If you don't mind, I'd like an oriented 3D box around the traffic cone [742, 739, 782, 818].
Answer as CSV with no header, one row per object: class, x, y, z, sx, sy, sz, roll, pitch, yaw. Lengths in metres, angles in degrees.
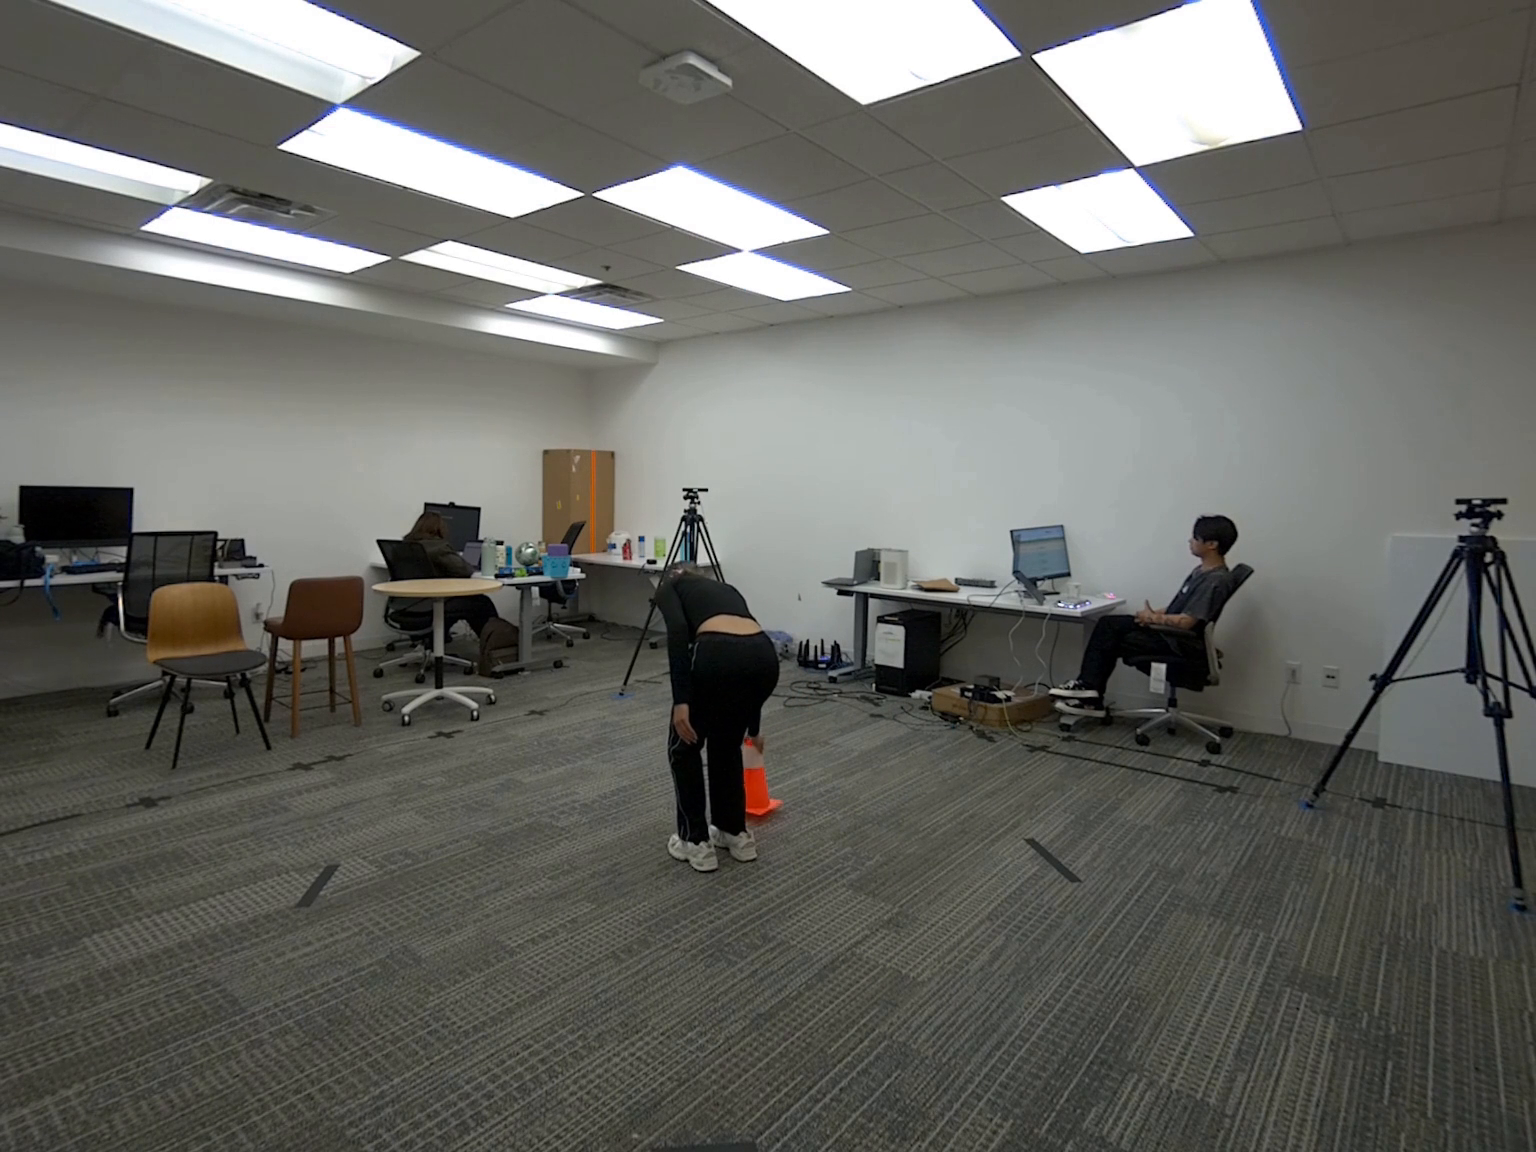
traffic cone,-0.082,0.785,3.666,0.212,0.383,0.197,4,3,39
